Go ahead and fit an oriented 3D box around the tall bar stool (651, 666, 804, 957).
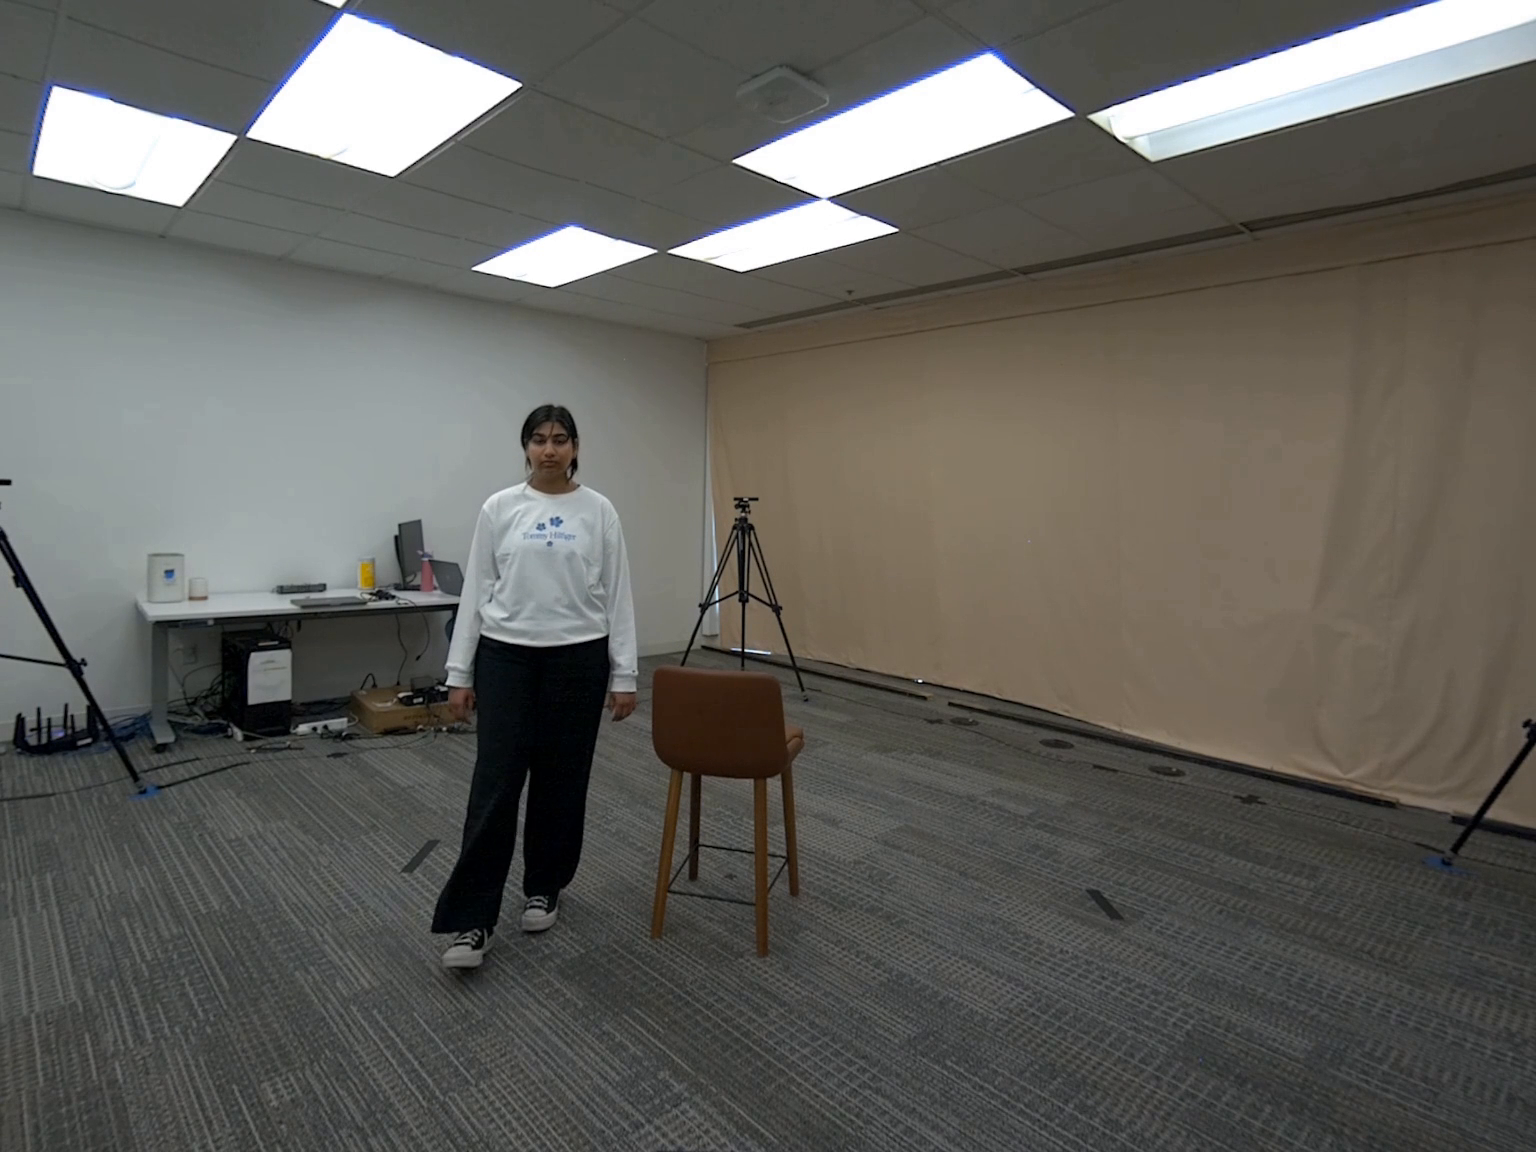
[{"bbox_3d":[-0.138,0.705,2.786,0.462,0.886,0.463,2,5,16],"label":"tall bar stool"}]
